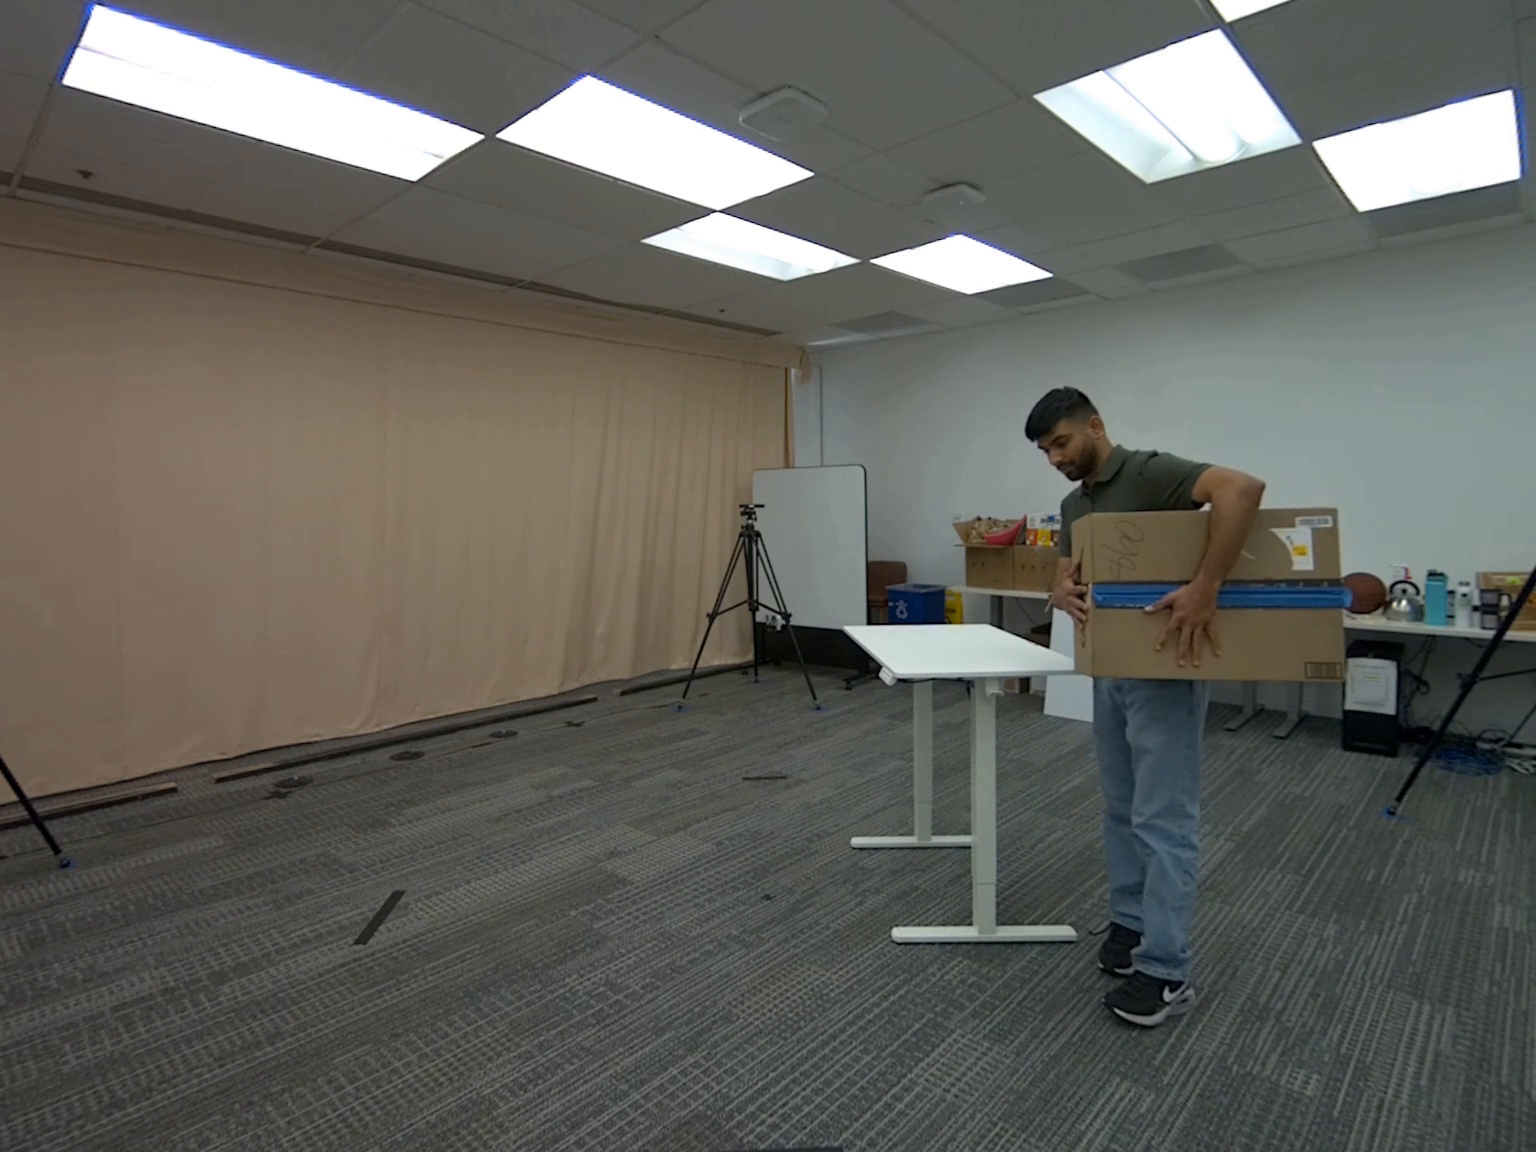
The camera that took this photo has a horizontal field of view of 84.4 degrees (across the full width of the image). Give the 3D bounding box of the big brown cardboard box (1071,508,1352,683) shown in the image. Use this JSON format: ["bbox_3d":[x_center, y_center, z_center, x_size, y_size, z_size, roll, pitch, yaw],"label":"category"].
[{"bbox_3d":[1.129,0.049,2.171,0.595,0.419,0.230,-2,-5,10],"label":"big brown cardboard box"}]
